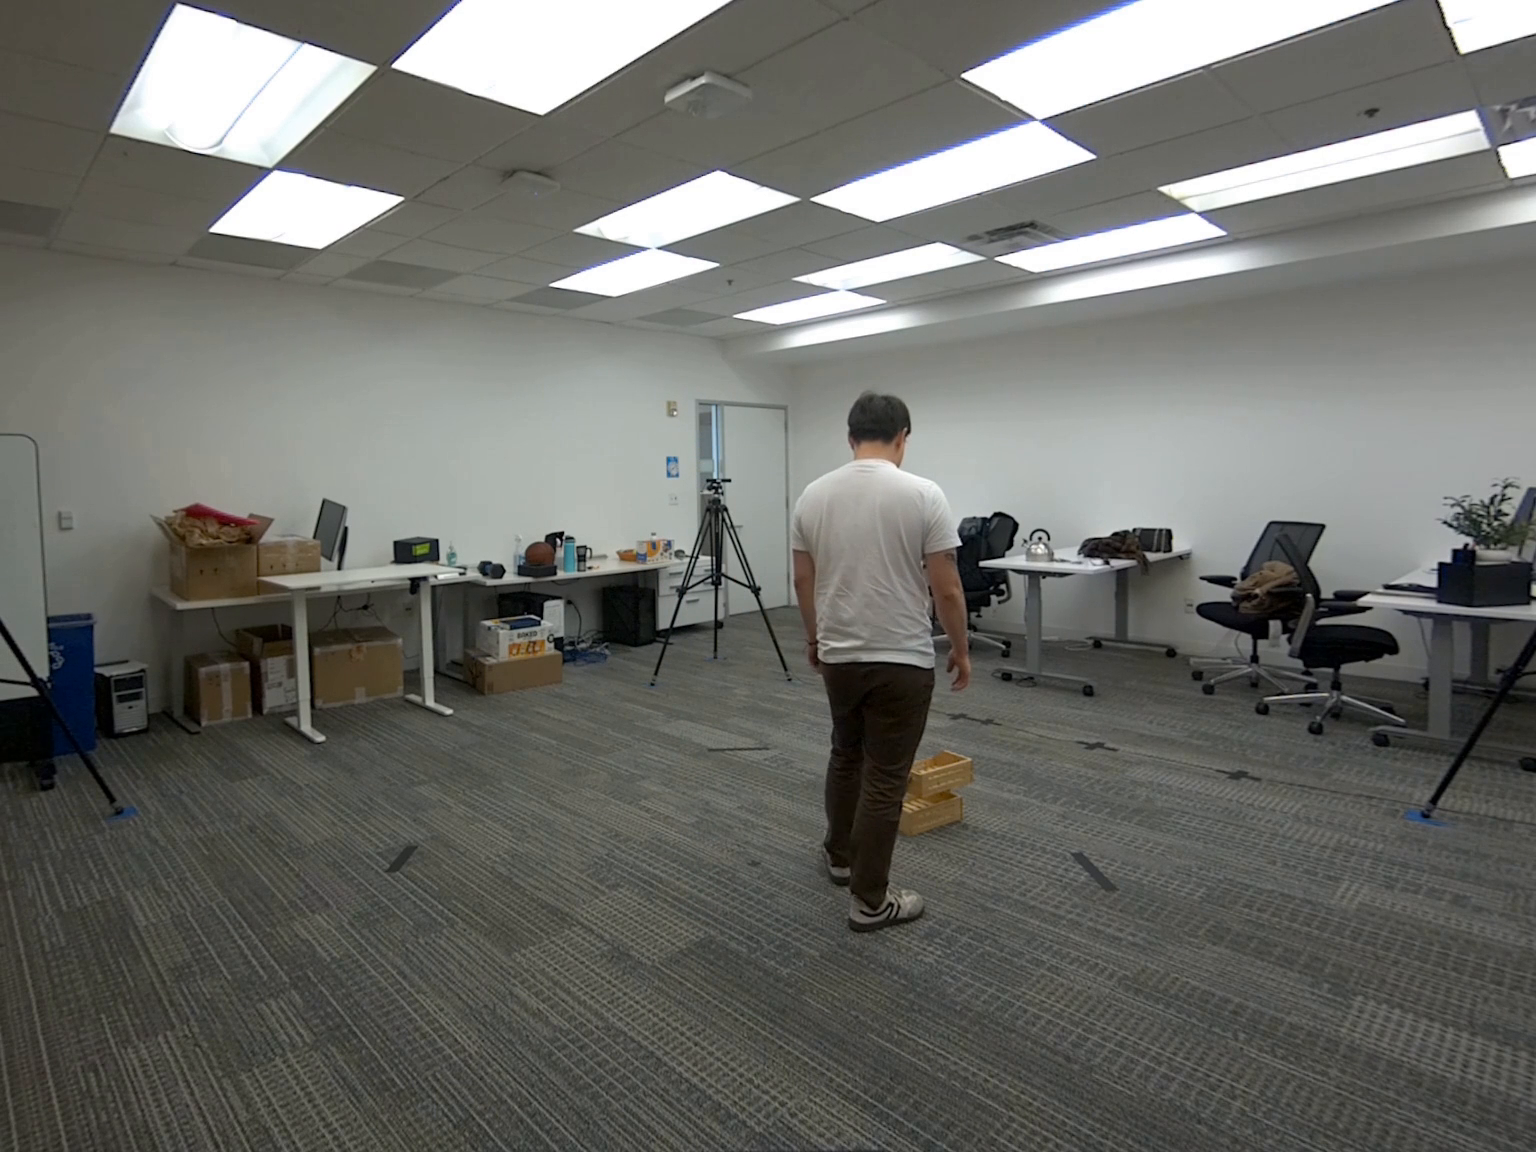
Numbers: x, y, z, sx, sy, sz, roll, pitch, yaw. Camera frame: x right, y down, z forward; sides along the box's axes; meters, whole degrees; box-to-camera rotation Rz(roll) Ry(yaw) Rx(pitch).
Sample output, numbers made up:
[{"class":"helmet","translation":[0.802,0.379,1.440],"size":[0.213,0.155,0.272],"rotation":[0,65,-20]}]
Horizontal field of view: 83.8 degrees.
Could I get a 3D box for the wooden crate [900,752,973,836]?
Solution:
[{"class":"wooden crate","translation":[0.614,0.859,3.475],"size":[0.316,0.272,0.311],"rotation":[-5,7,-36]}]
